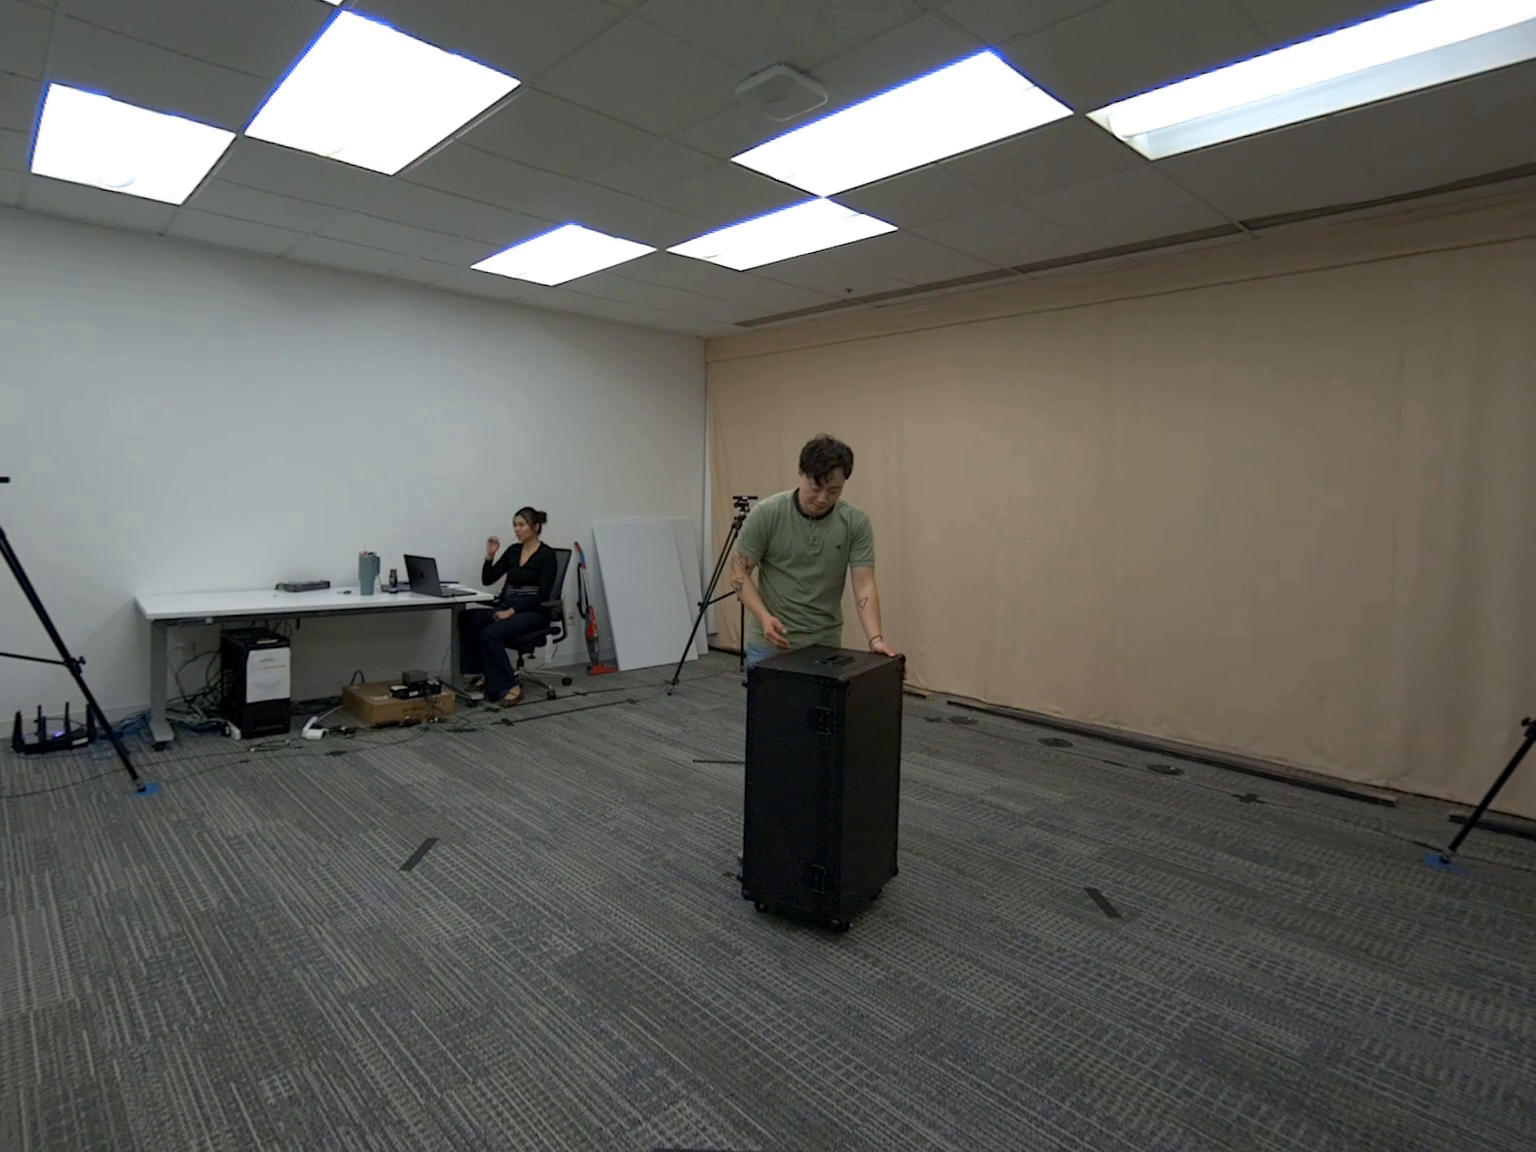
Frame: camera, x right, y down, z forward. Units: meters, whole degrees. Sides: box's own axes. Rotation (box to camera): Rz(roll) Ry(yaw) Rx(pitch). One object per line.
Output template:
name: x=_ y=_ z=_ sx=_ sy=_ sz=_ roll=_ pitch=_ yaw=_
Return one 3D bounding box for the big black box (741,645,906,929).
big black box: x=0.180 y=0.703 z=2.855 sx=0.405 sy=0.859 sz=0.511 roll=3 pitch=4 yaw=32
